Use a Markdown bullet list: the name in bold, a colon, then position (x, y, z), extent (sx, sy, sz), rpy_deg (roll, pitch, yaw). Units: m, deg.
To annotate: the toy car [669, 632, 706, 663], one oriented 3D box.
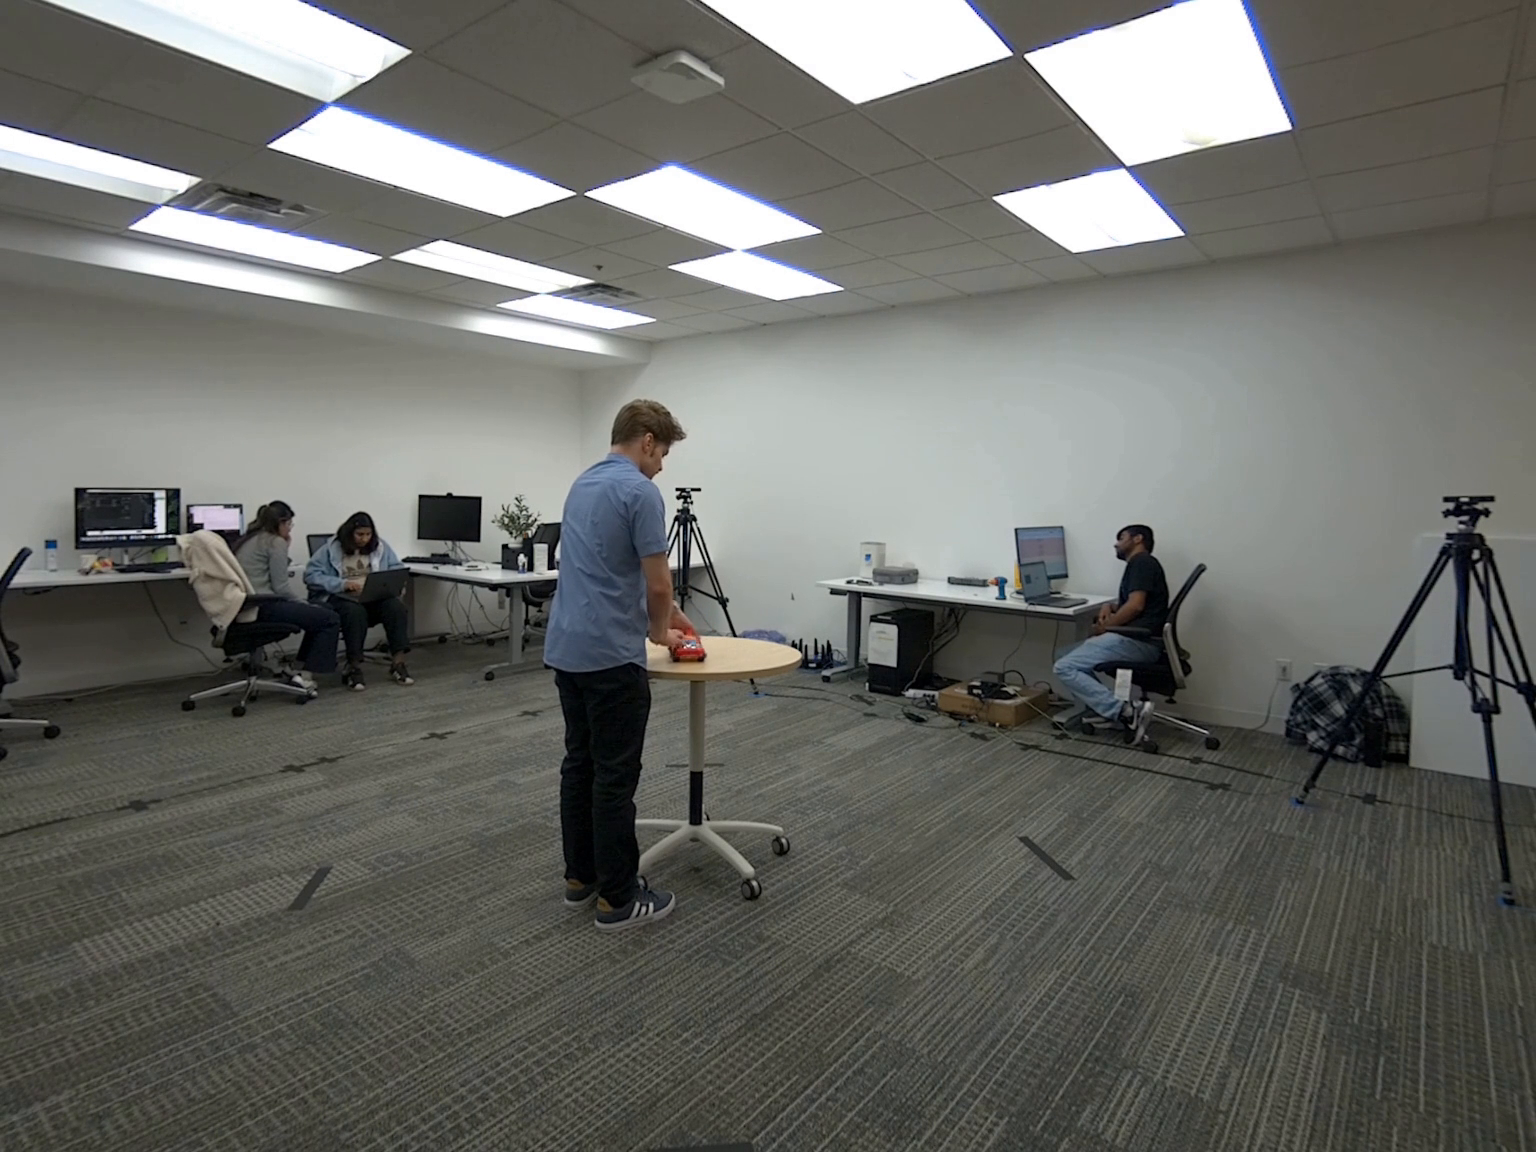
- **toy car**: position (-0.304, 0.255, 3.065), extent (0.129, 0.082, 0.261), rpy_deg (1, 18, -10)
